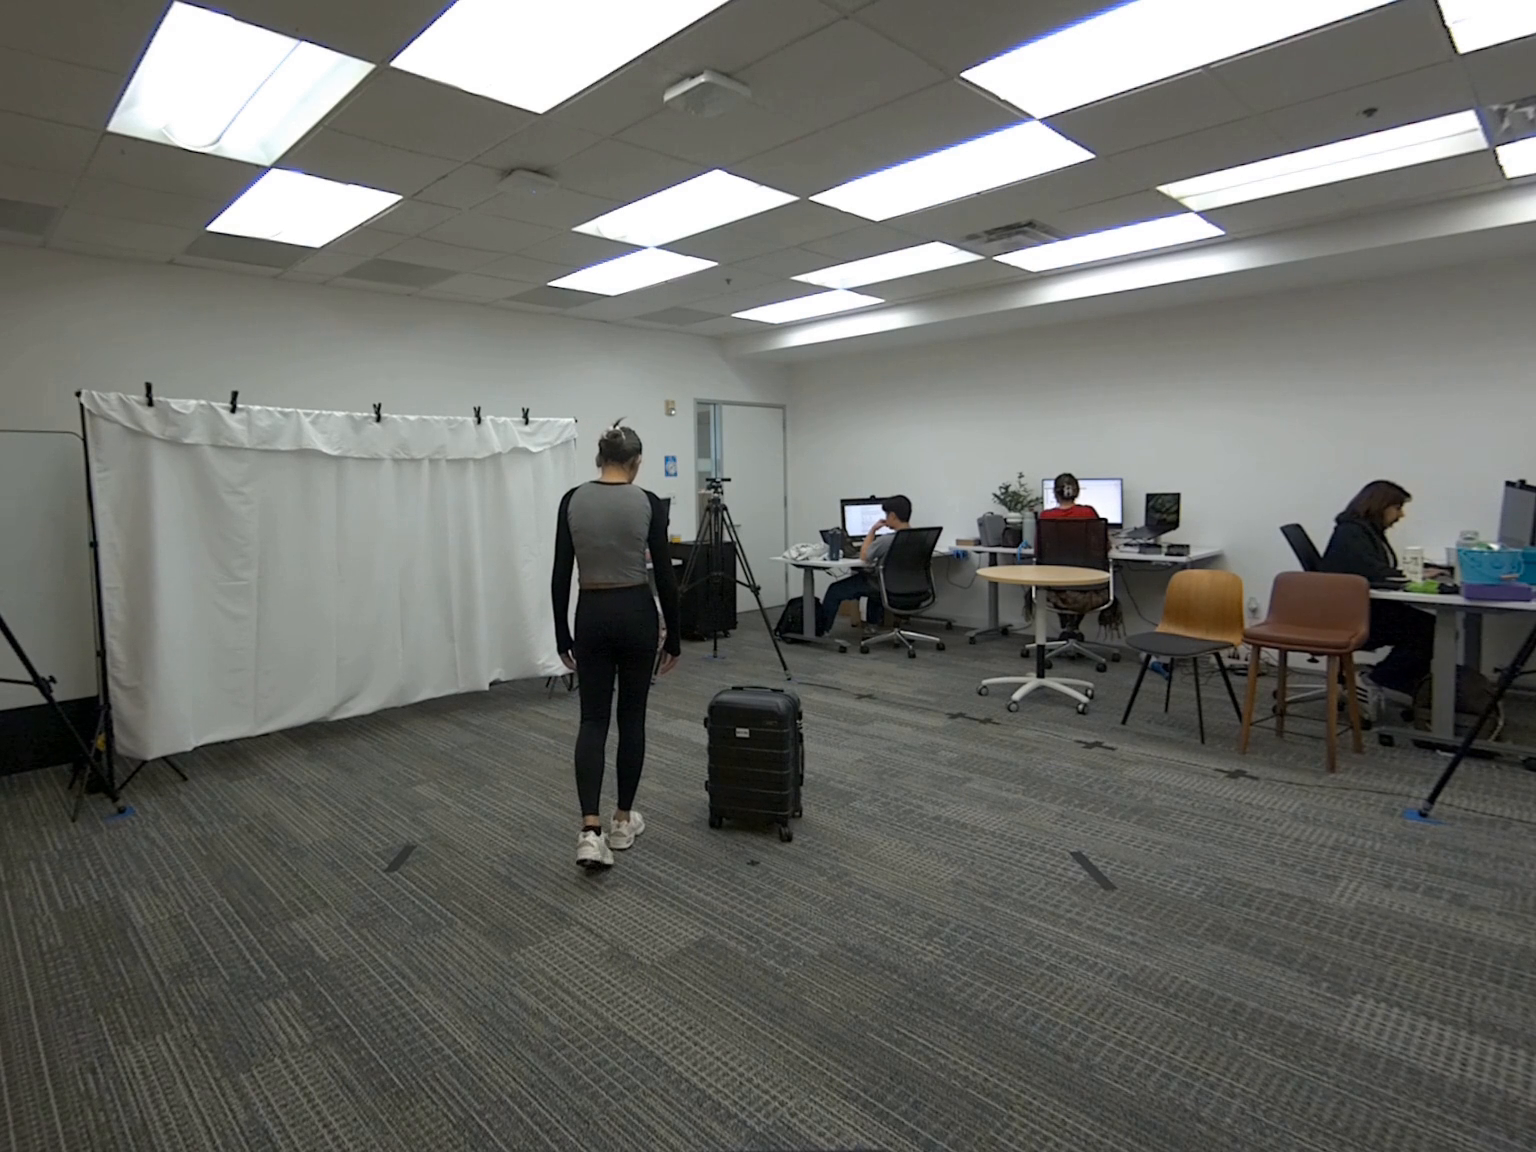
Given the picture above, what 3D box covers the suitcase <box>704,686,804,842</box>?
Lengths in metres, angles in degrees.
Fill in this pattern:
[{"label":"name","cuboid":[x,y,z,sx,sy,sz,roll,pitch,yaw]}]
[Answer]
[{"label":"suitcase","cuboid":[-0.050,0.727,3.443,0.382,0.547,0.245,2,6,18]}]
